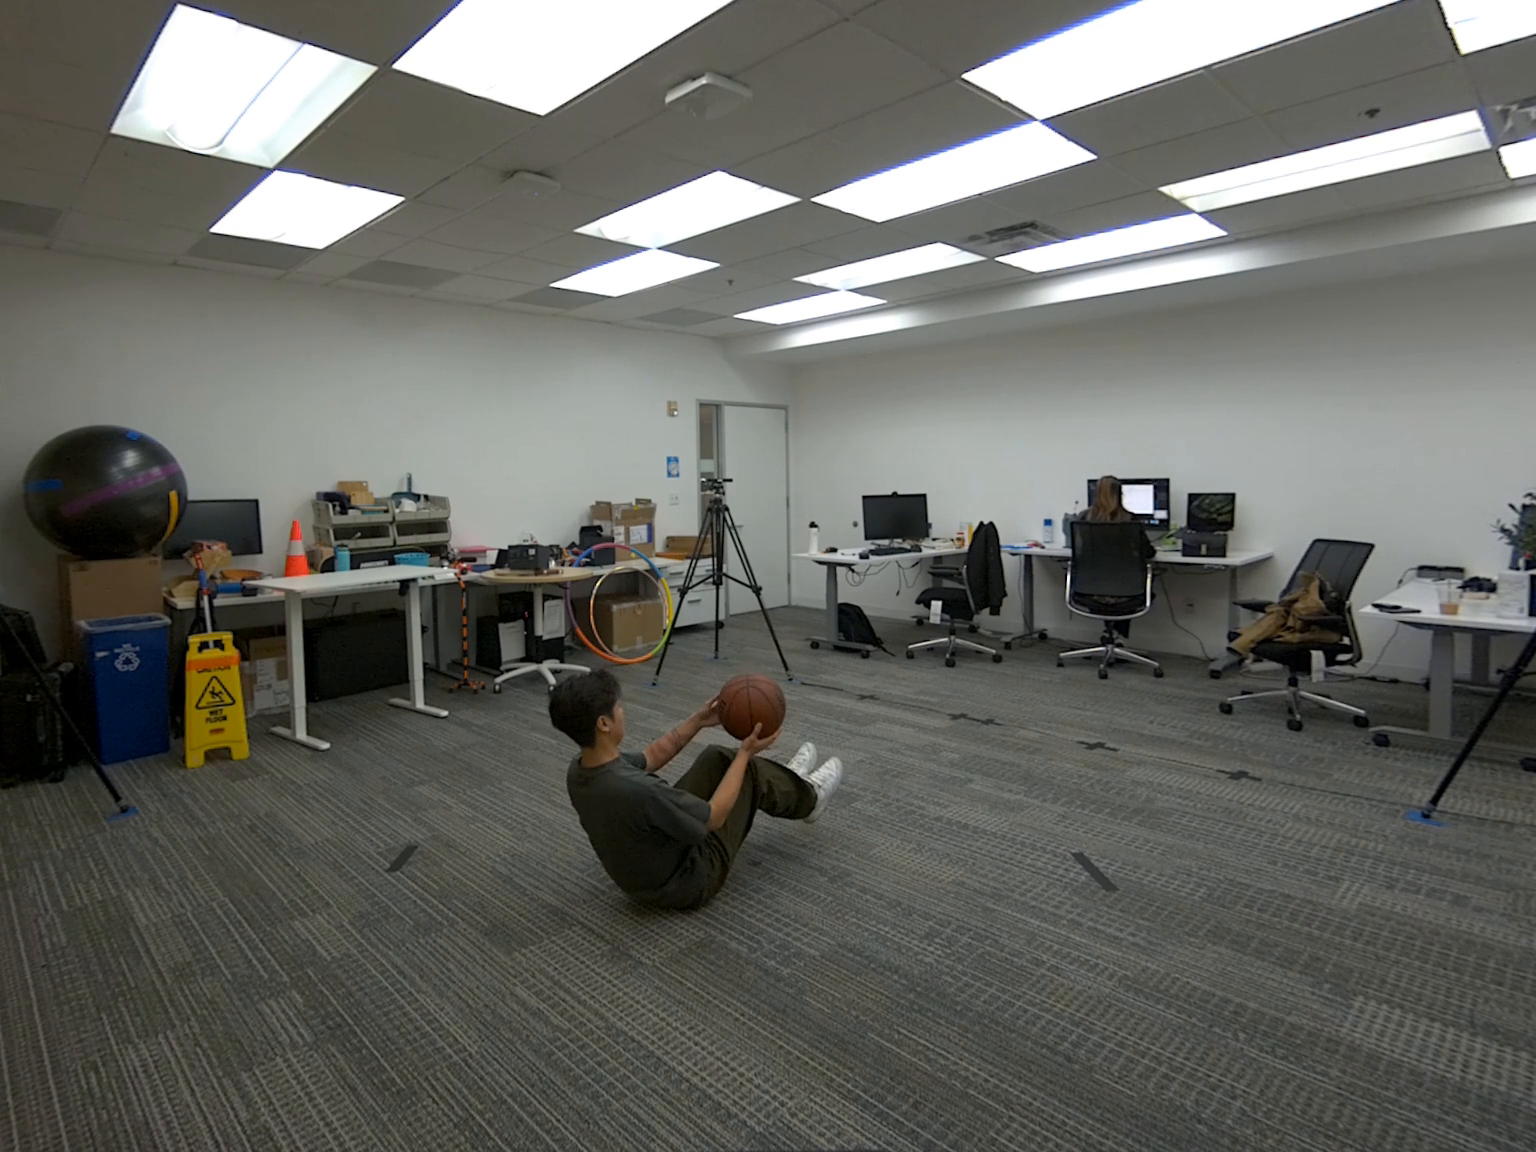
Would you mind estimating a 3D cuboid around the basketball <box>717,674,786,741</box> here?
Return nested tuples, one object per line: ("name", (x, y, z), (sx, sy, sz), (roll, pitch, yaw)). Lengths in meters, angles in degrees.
("basketball", (-0.059, 0.462, 2.958), (0.236, 0.235, 0.237), (-1, 5, -2))
